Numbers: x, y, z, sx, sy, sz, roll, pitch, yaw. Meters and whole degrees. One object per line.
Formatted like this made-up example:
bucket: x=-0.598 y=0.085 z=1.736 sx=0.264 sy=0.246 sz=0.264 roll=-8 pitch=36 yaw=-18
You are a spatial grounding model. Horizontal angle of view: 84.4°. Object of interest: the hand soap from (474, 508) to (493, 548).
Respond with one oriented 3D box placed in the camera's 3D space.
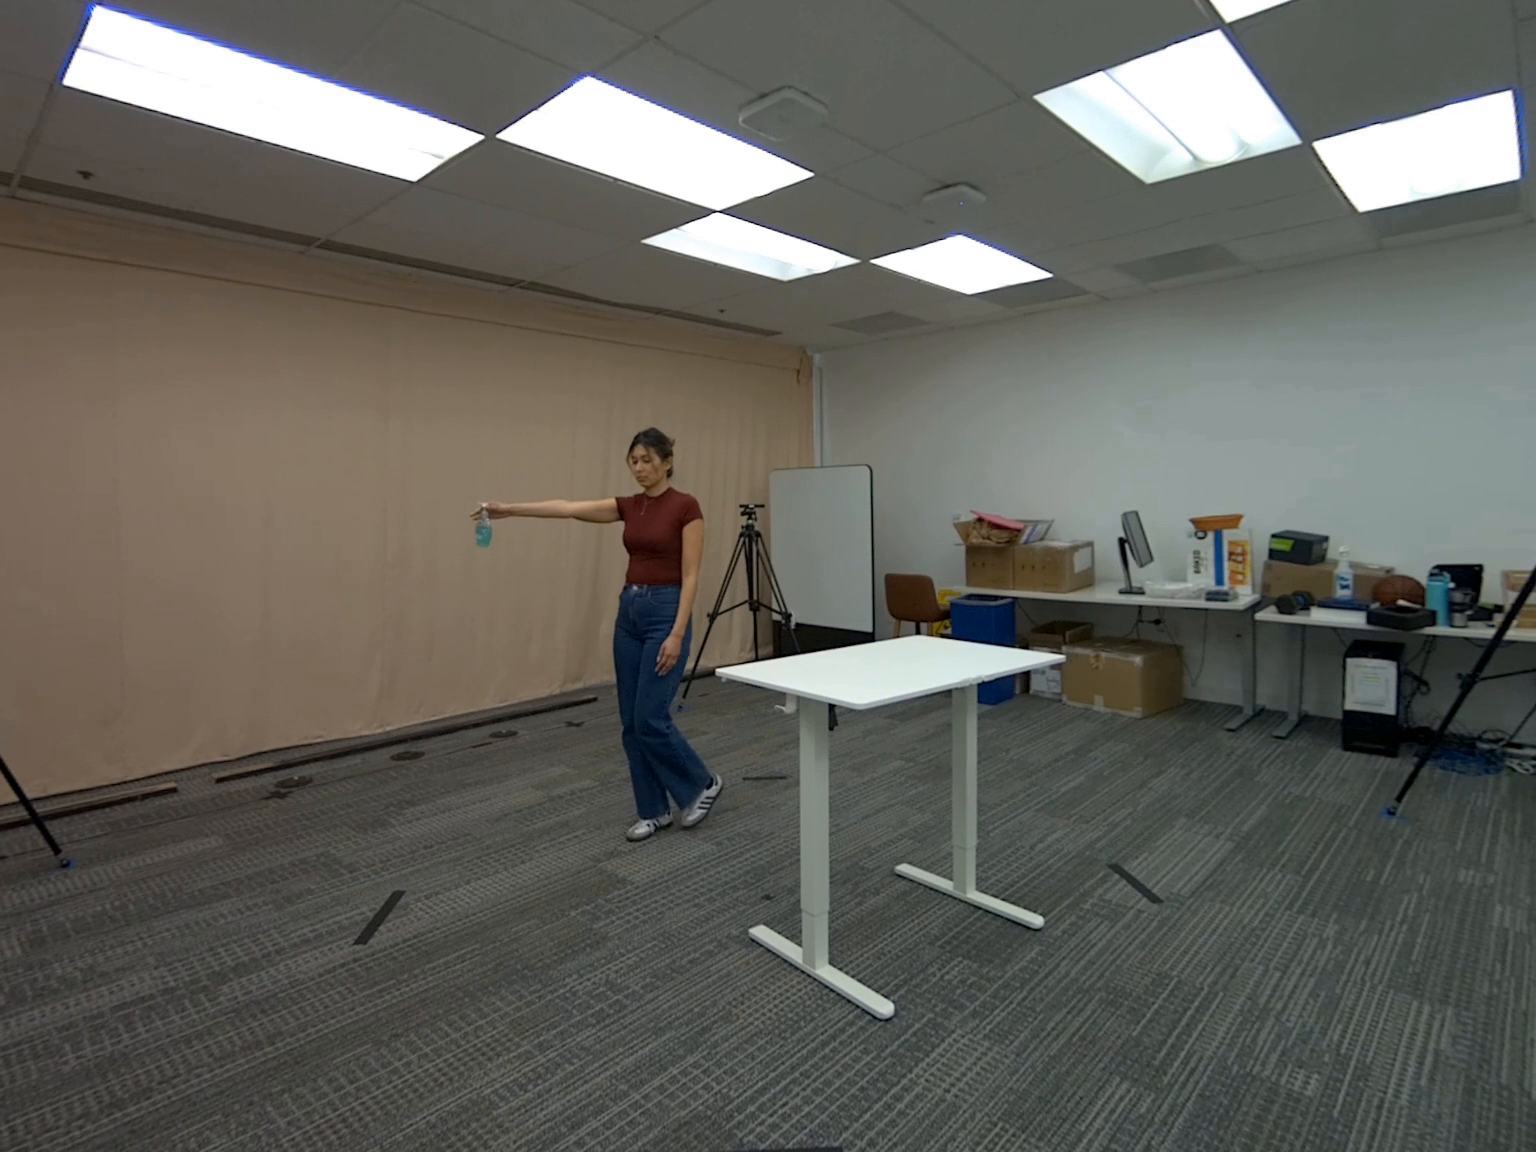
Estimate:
hand soap: x=-1.092 y=-0.199 z=3.247 sx=0.087 sy=0.167 sz=0.042 roll=9 pitch=7 yaw=34
